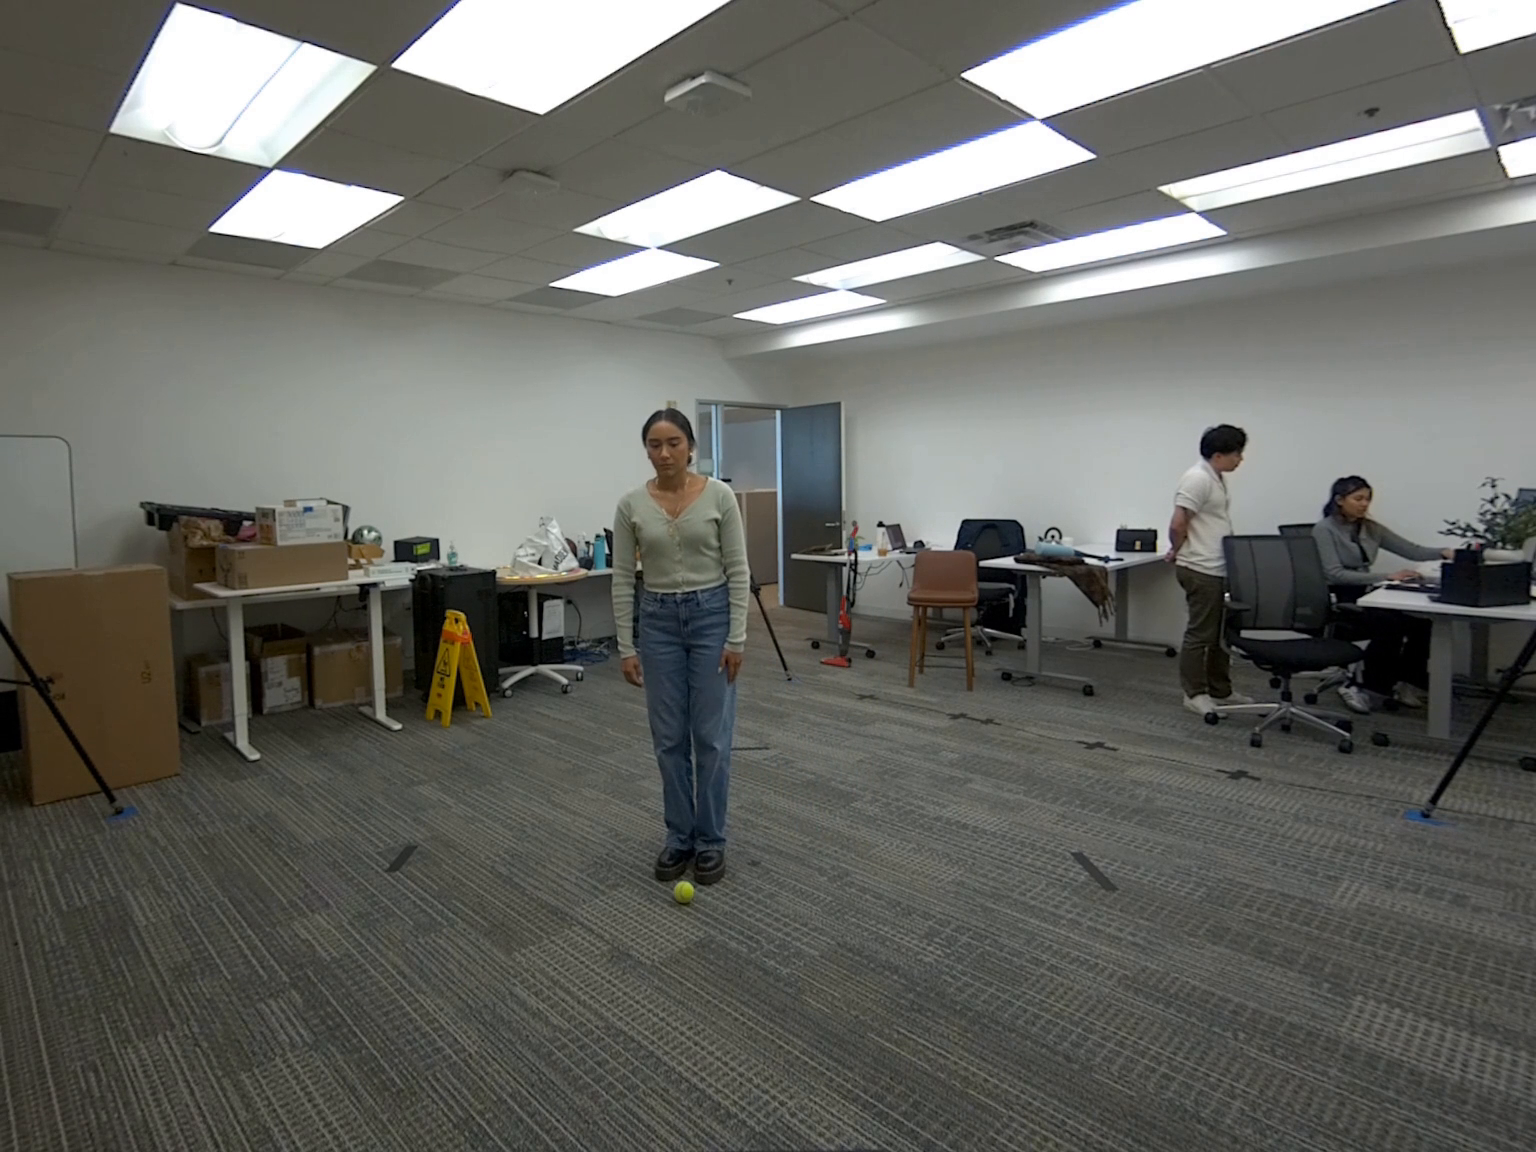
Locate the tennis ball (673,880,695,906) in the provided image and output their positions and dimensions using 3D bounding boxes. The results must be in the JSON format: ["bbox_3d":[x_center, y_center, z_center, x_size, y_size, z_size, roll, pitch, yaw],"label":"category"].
[{"bbox_3d":[-0.273,1.038,2.830,0.066,0.066,0.067,-1,5,-2],"label":"tennis ball"}]
